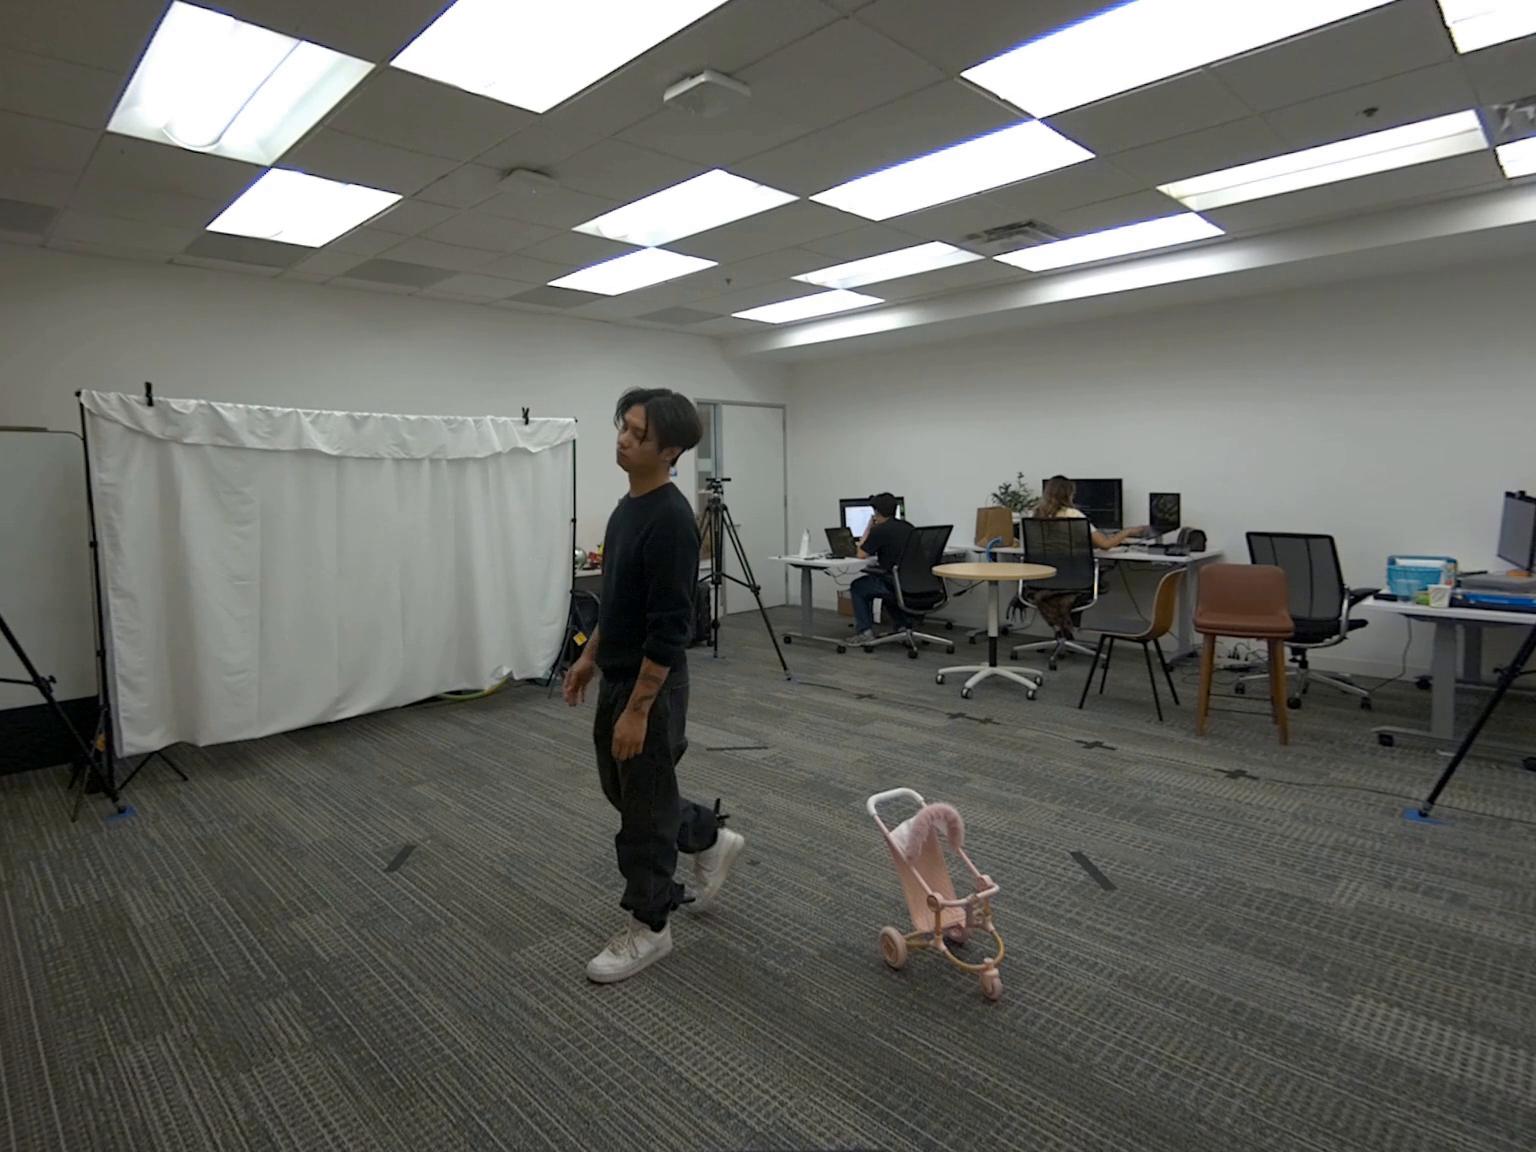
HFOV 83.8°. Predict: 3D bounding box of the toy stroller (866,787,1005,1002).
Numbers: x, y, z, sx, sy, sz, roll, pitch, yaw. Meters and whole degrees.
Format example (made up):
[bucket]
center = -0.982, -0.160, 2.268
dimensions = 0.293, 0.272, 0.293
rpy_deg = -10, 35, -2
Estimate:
[toy stroller]
center = 0.488, 0.879, 2.434
dimensions = 0.275, 0.541, 0.345
rpy_deg = -3, -12, -27
